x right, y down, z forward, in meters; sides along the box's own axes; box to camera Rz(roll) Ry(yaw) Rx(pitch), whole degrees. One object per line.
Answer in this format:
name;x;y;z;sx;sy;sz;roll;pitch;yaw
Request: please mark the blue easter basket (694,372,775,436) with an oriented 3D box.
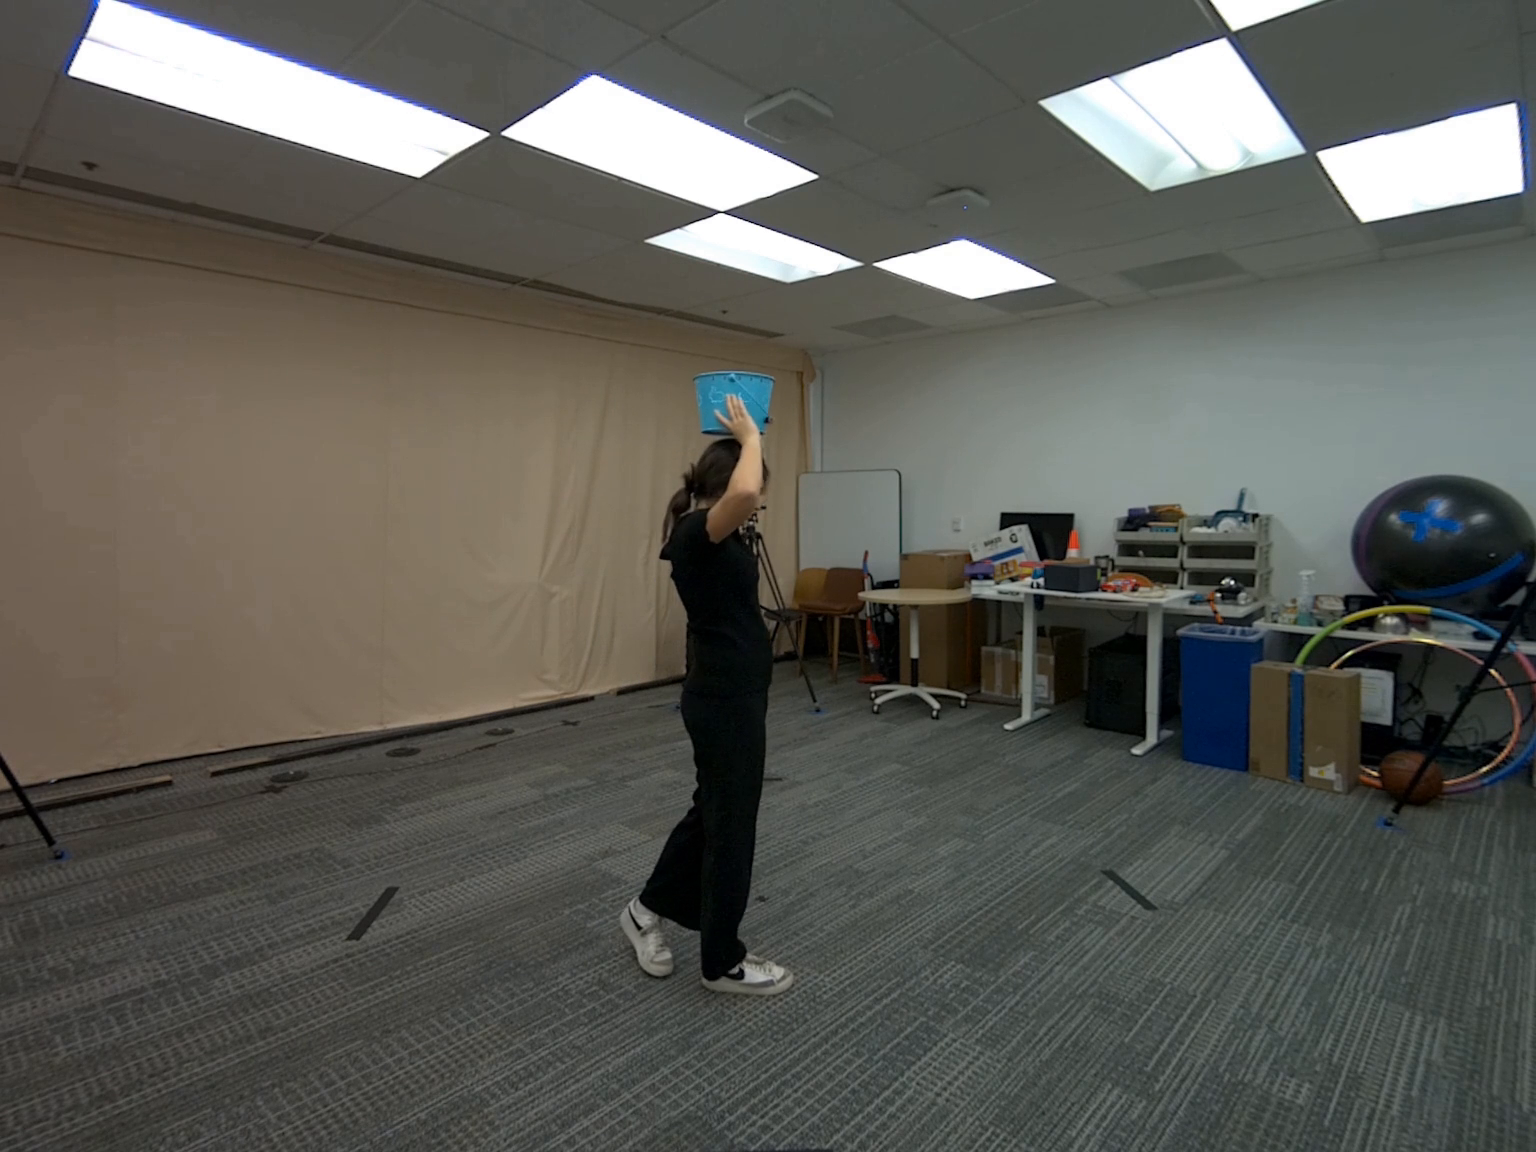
blue easter basket;-0.093;-0.481;2.373;0.243;0.155;0.244;0;3;-2
